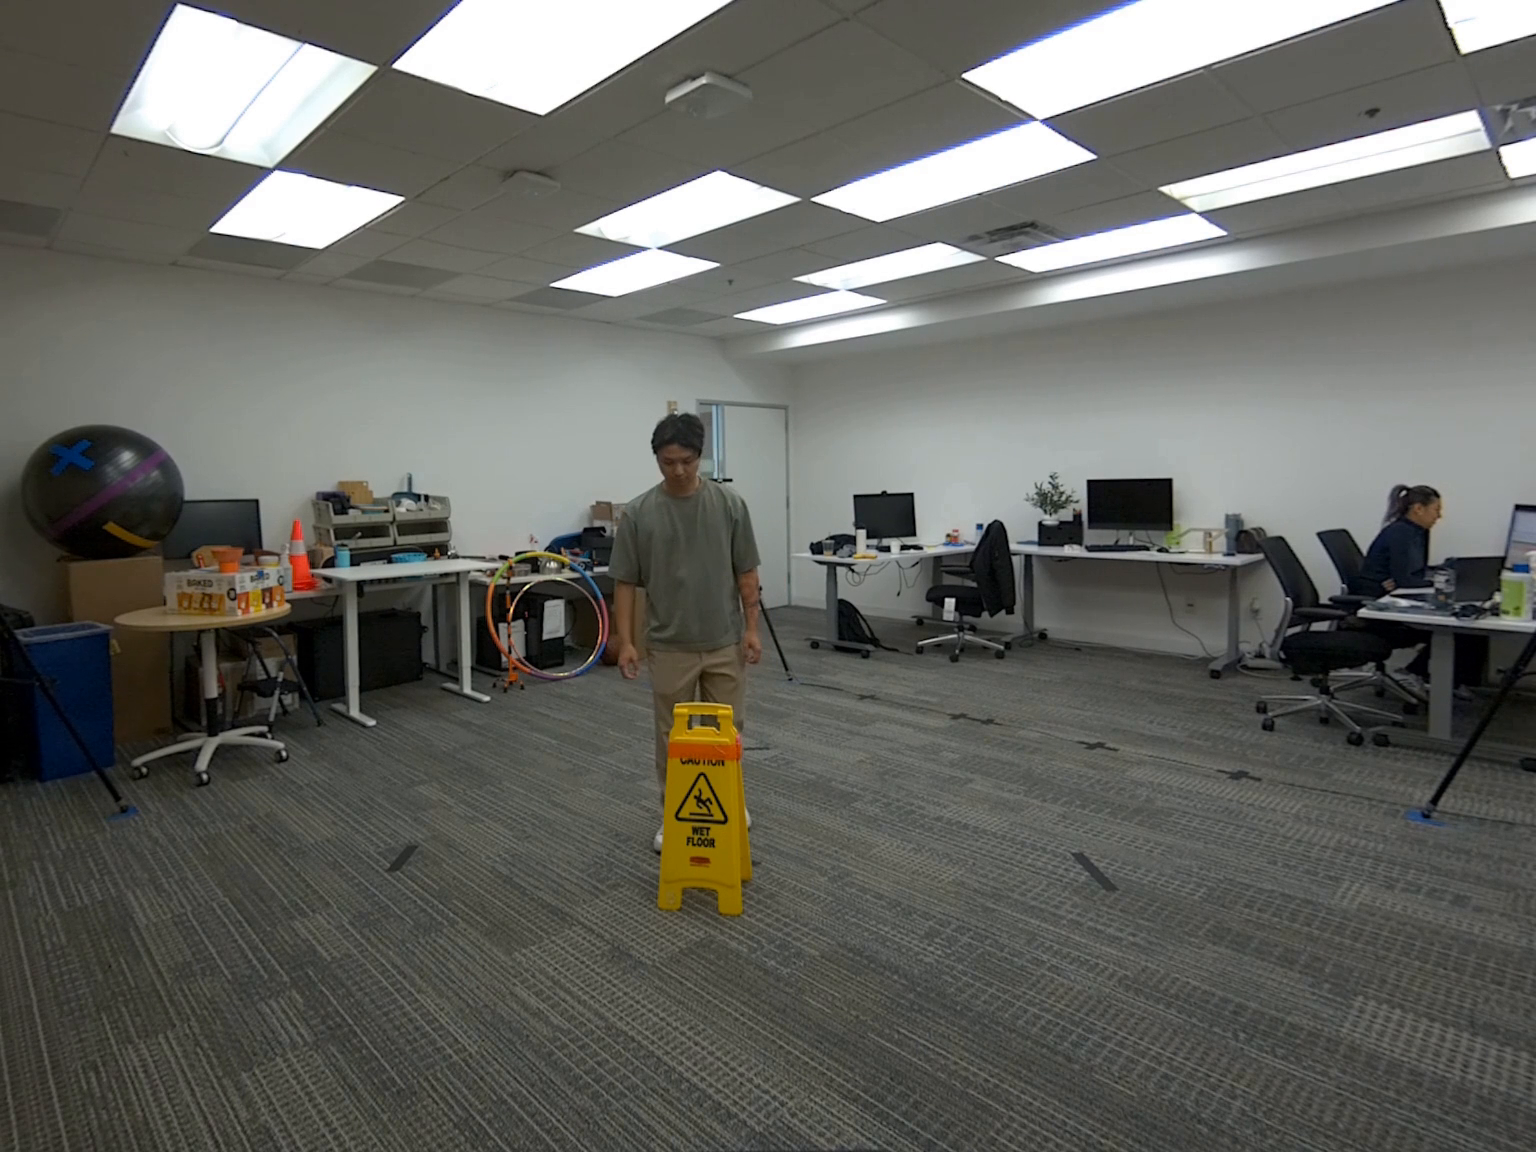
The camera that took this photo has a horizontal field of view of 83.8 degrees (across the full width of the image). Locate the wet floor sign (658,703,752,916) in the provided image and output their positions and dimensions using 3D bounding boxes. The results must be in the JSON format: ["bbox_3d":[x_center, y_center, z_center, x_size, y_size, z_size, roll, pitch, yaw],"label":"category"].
[{"bbox_3d":[-0.204,0.755,2.860,0.285,0.643,0.289,-1,6,8],"label":"wet floor sign"}]
